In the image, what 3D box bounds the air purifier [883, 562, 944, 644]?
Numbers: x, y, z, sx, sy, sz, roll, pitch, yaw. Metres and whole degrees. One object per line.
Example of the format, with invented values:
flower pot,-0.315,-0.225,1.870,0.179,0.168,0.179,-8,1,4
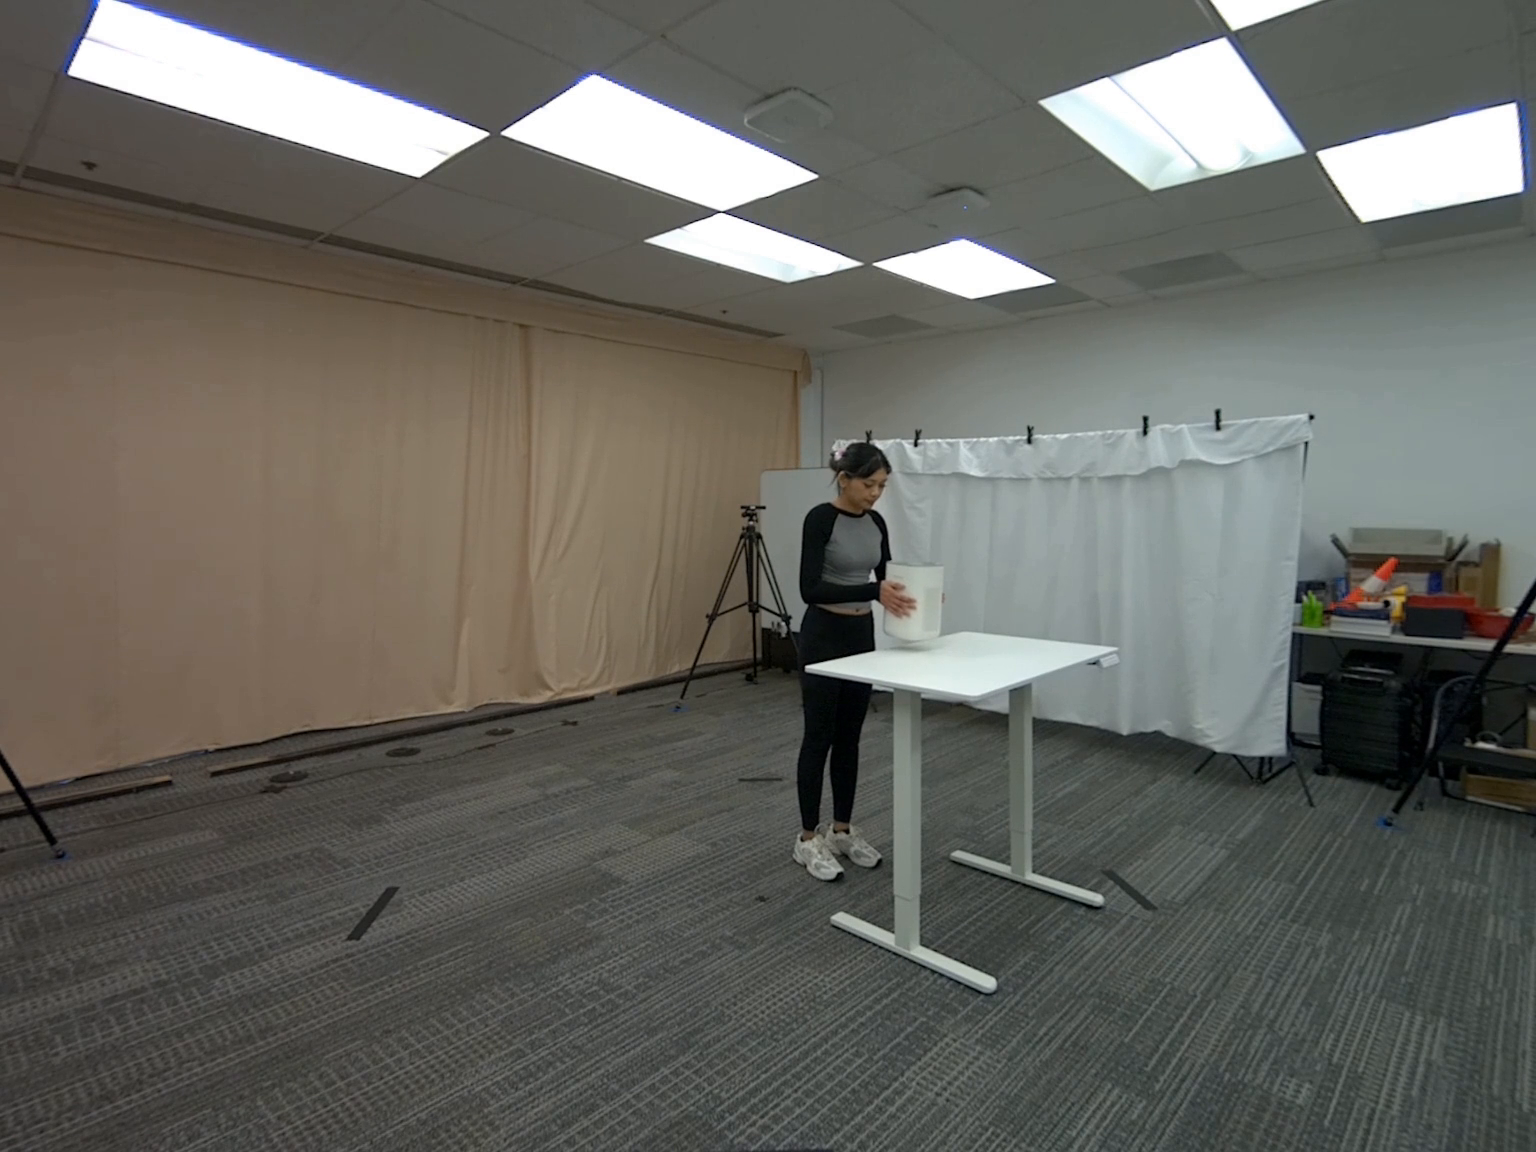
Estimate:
air purifier,0.514,0.084,2.978,0.177,0.264,0.166,6,6,43
